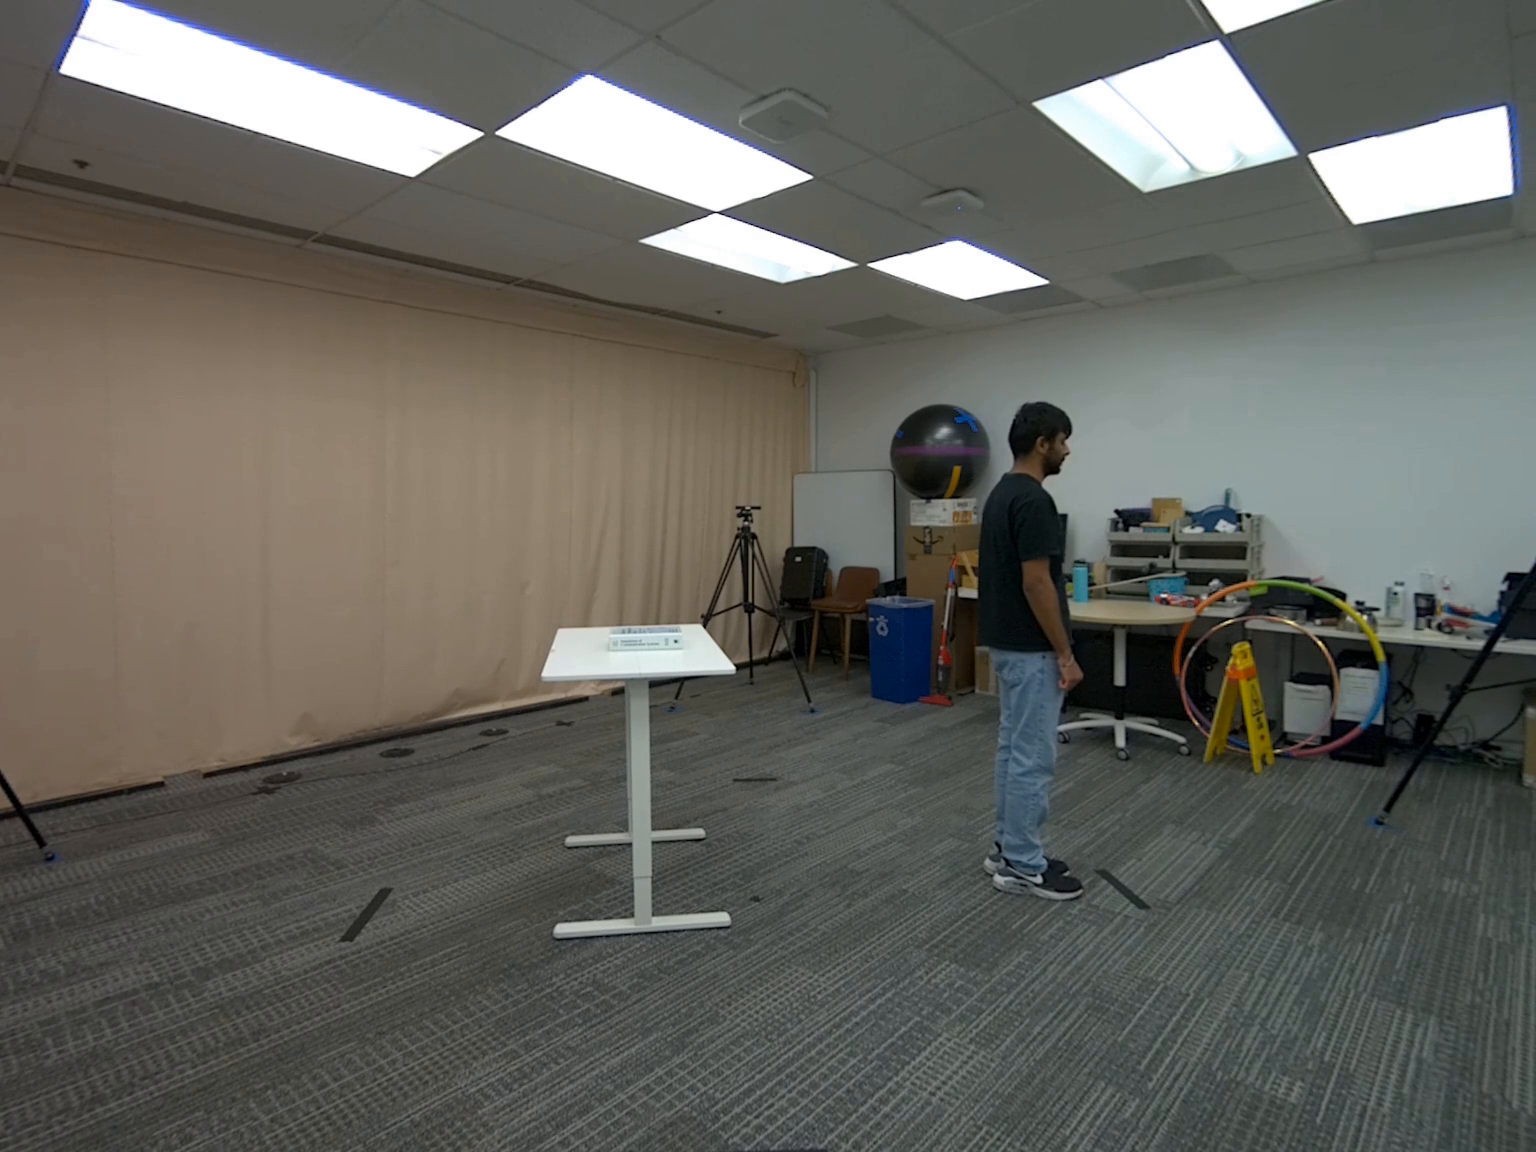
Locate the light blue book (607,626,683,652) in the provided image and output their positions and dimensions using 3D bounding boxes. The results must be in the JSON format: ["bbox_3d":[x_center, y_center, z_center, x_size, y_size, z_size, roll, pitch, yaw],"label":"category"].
[{"bbox_3d":[-0.442,0.231,3.101,0.260,0.059,0.193,-2,4,-5],"label":"light blue book"}]
